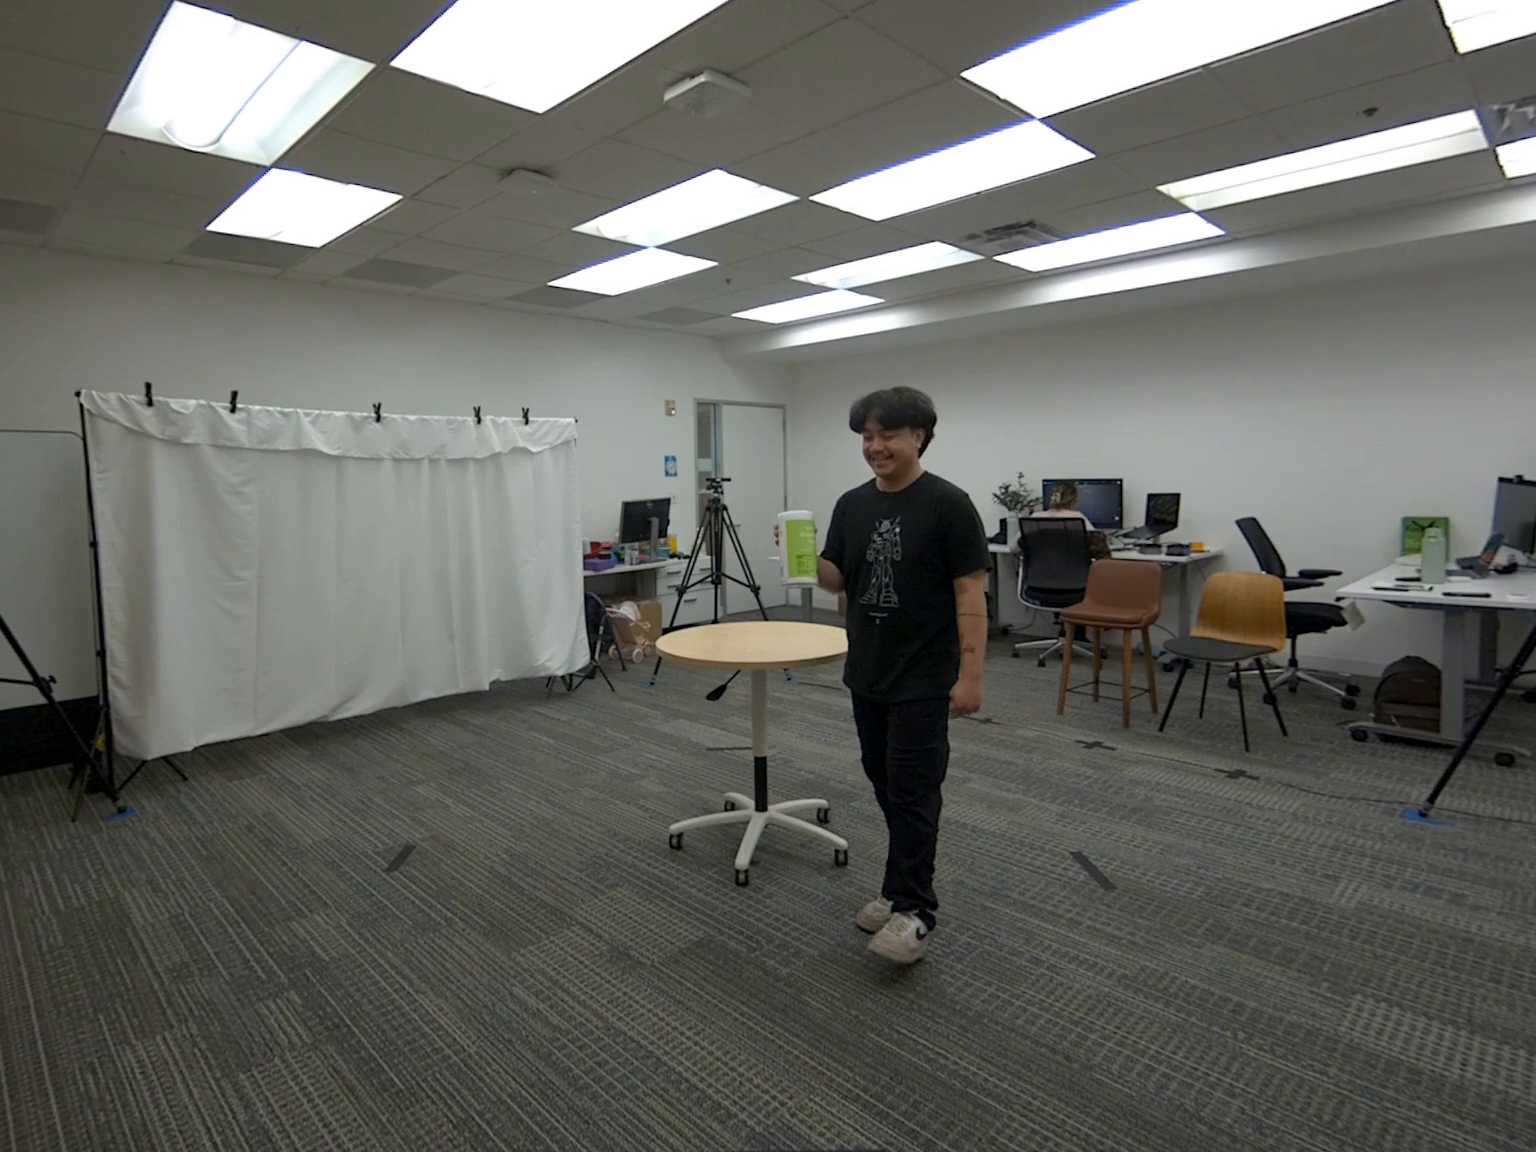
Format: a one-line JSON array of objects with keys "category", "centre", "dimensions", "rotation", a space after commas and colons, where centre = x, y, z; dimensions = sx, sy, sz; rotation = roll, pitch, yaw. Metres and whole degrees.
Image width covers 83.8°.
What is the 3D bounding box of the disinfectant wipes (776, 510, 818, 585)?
[{"category": "disinfectant wipes", "centre": [0.079, -0.073, 2.499], "dimensions": [0.117, 0.219, 0.117], "rotation": [-2, -9, -2]}]
